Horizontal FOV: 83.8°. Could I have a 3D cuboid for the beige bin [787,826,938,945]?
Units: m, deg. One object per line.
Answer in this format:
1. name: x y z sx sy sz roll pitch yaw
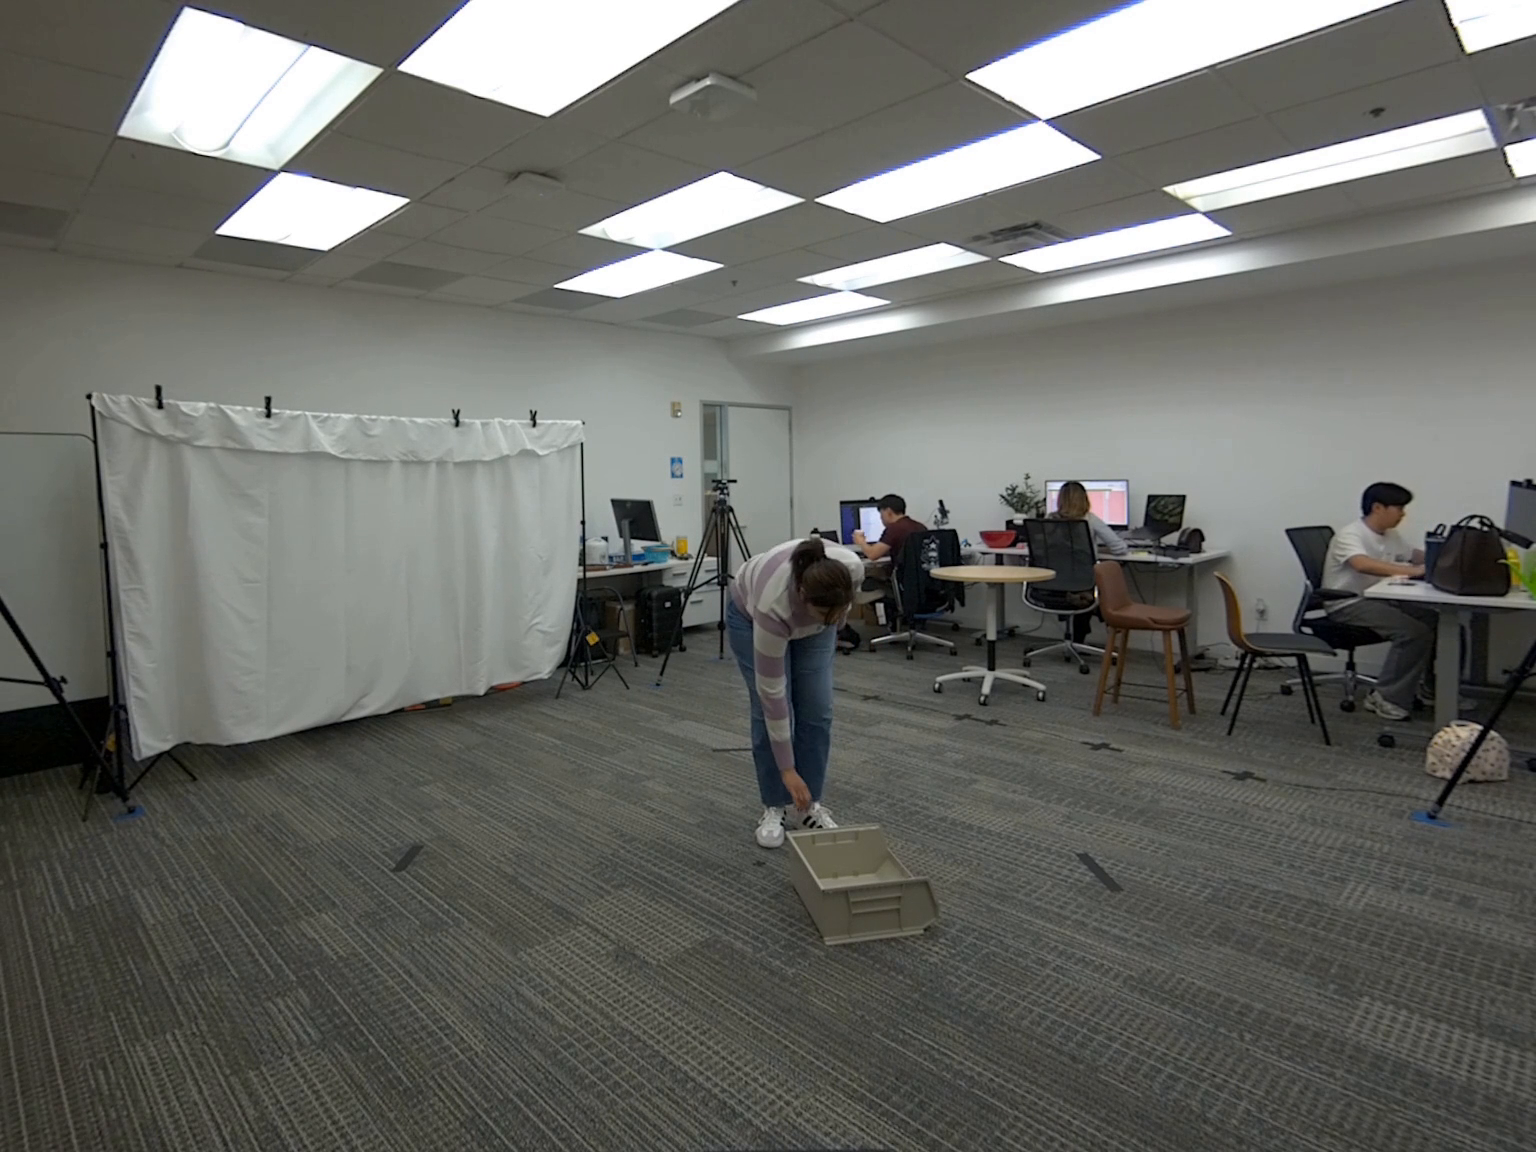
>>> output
1. beige bin: 0.296 0.989 2.781 0.373 0.188 0.429 -3 7 -13
